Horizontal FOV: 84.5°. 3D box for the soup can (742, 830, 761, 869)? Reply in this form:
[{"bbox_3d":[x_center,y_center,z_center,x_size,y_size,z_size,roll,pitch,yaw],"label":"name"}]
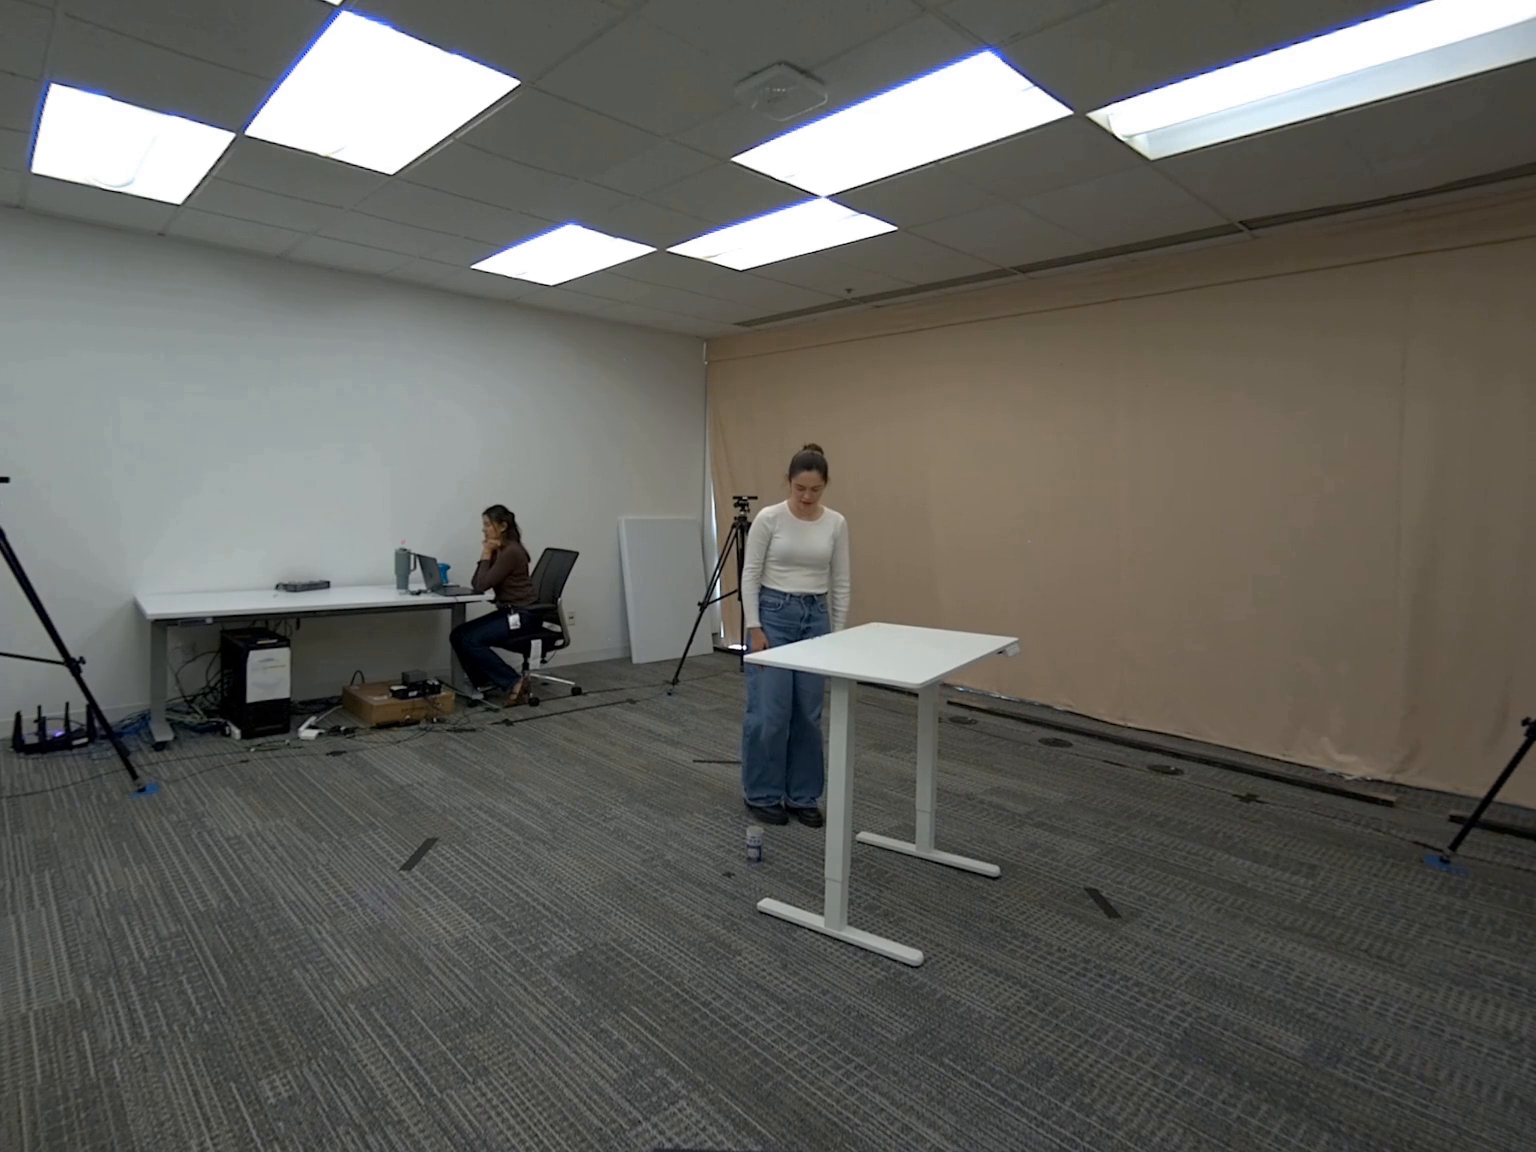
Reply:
[{"bbox_3d":[-0.065,1.044,3.237,0.067,0.121,0.067,0,4,-1],"label":"soup can"}]
